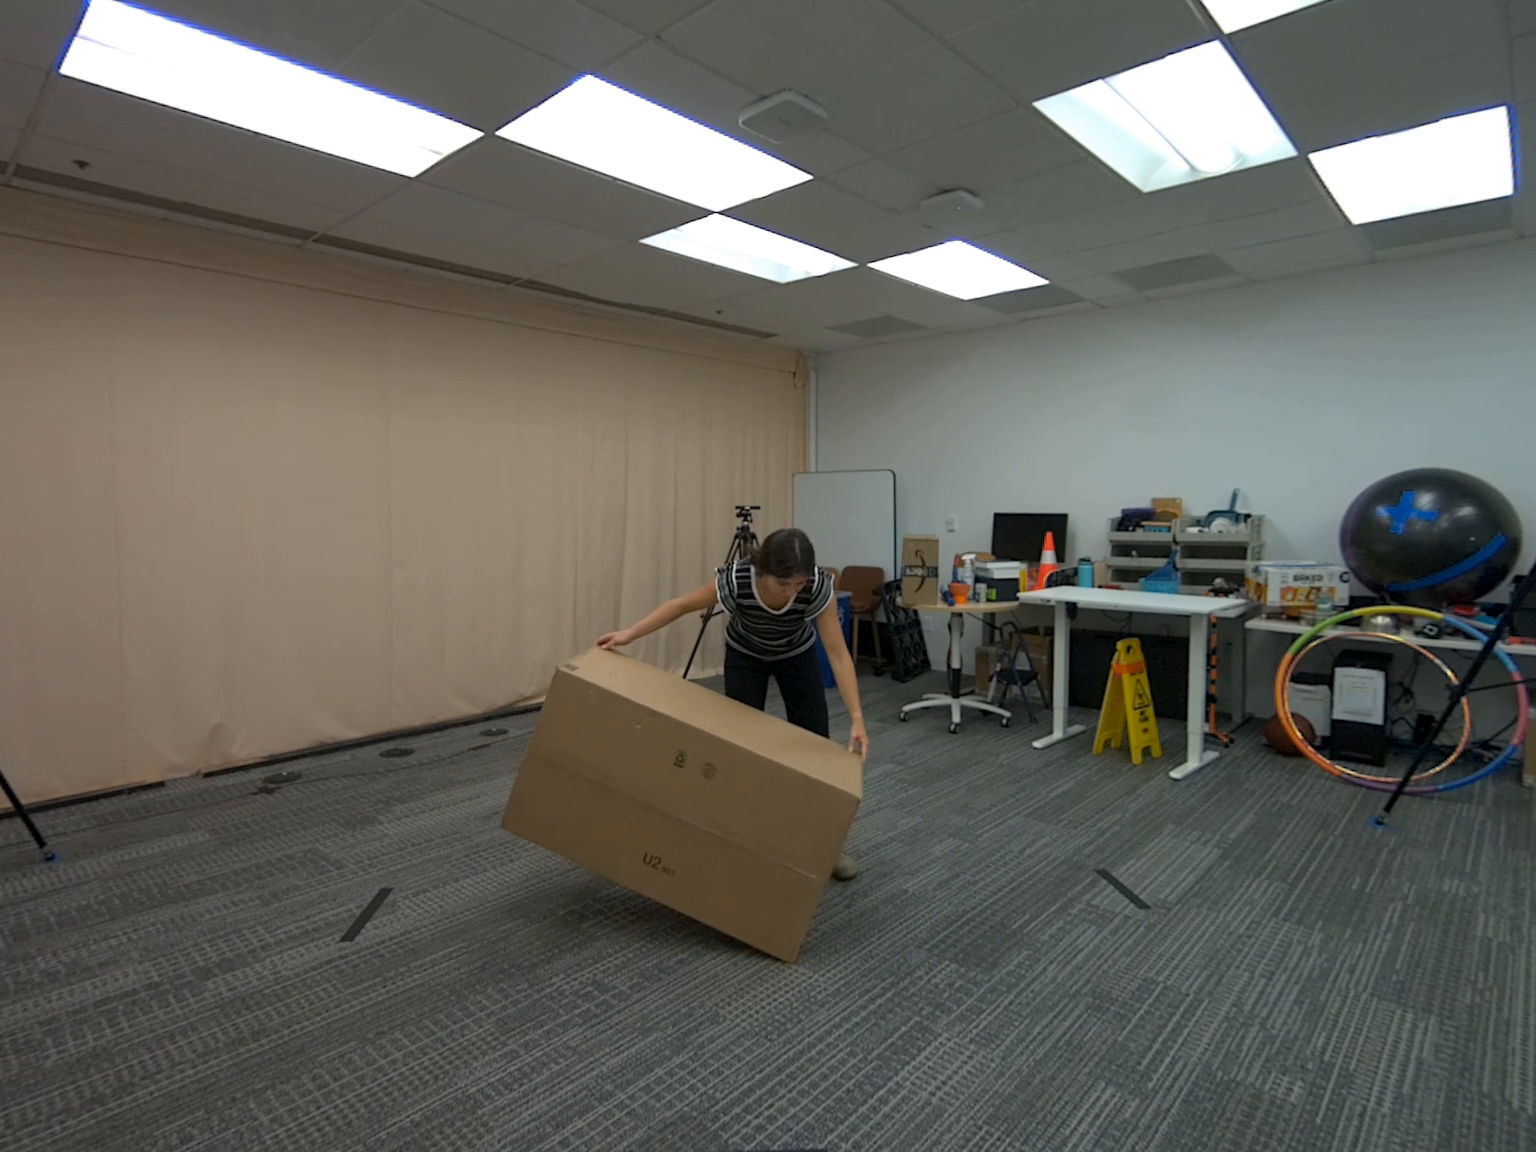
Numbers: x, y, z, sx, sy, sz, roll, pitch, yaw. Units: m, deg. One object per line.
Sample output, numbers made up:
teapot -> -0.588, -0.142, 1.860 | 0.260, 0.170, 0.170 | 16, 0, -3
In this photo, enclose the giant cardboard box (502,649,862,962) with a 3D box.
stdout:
giant cardboard box -> -0.269, 0.717, 2.810 | 1.037, 0.576, 0.422 | 21, 6, 8
